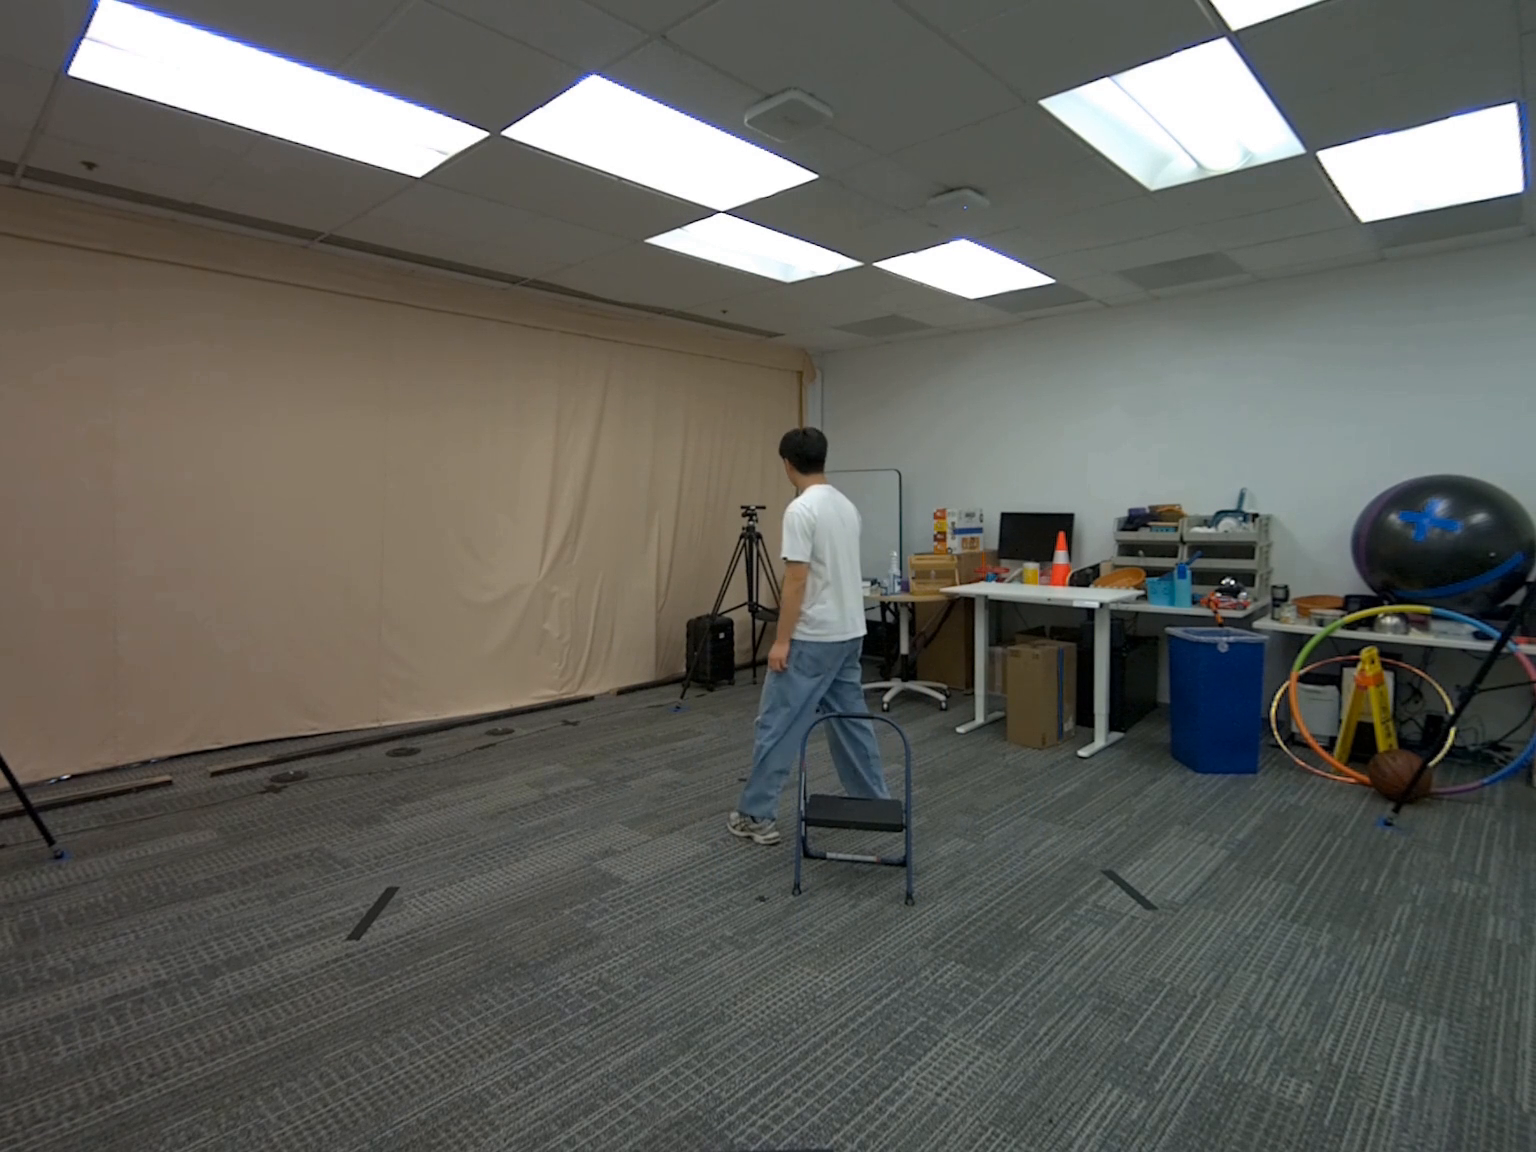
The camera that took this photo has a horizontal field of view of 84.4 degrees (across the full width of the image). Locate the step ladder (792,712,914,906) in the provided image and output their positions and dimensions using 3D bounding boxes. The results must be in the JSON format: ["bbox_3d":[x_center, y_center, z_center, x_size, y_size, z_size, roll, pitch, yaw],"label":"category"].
[{"bbox_3d":[0.328,0.830,3.124,0.435,0.604,0.346,0,4,10],"label":"step ladder"}]
